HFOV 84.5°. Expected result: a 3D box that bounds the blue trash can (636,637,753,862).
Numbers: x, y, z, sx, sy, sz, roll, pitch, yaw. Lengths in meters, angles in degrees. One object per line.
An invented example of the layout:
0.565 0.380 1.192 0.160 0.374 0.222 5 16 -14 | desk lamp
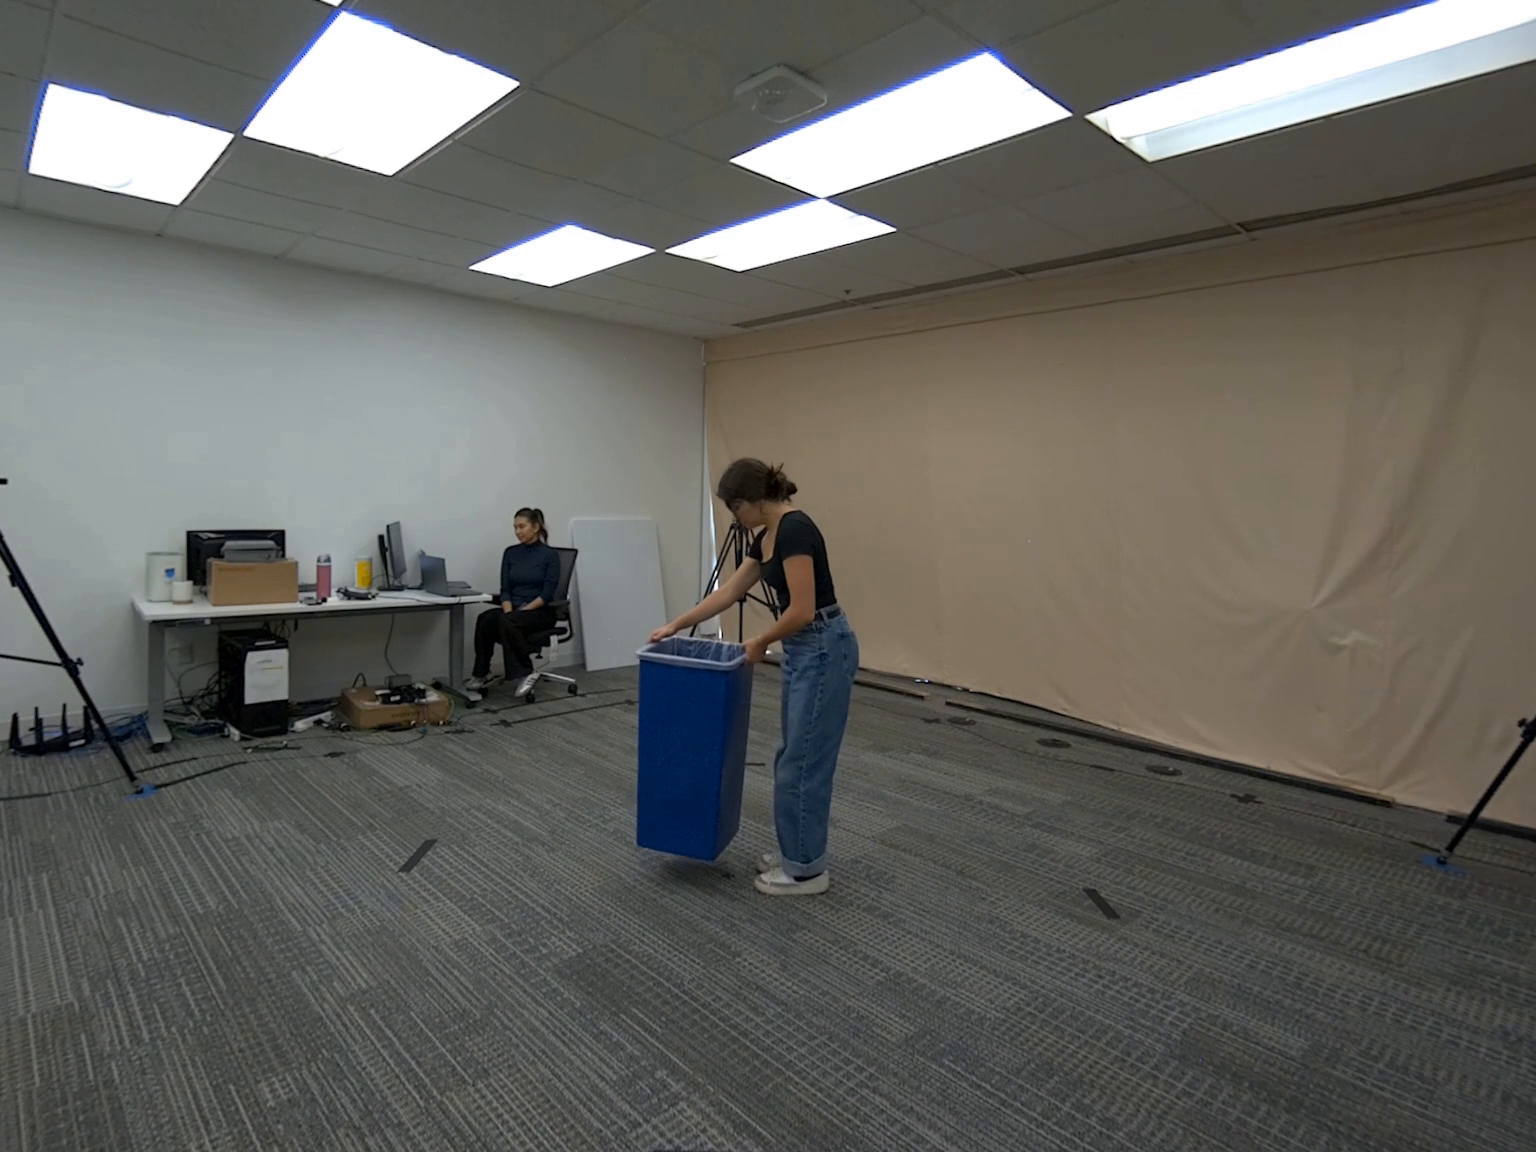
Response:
-0.273 0.618 3.086 0.383 0.712 0.370 5 4 16 | blue trash can
